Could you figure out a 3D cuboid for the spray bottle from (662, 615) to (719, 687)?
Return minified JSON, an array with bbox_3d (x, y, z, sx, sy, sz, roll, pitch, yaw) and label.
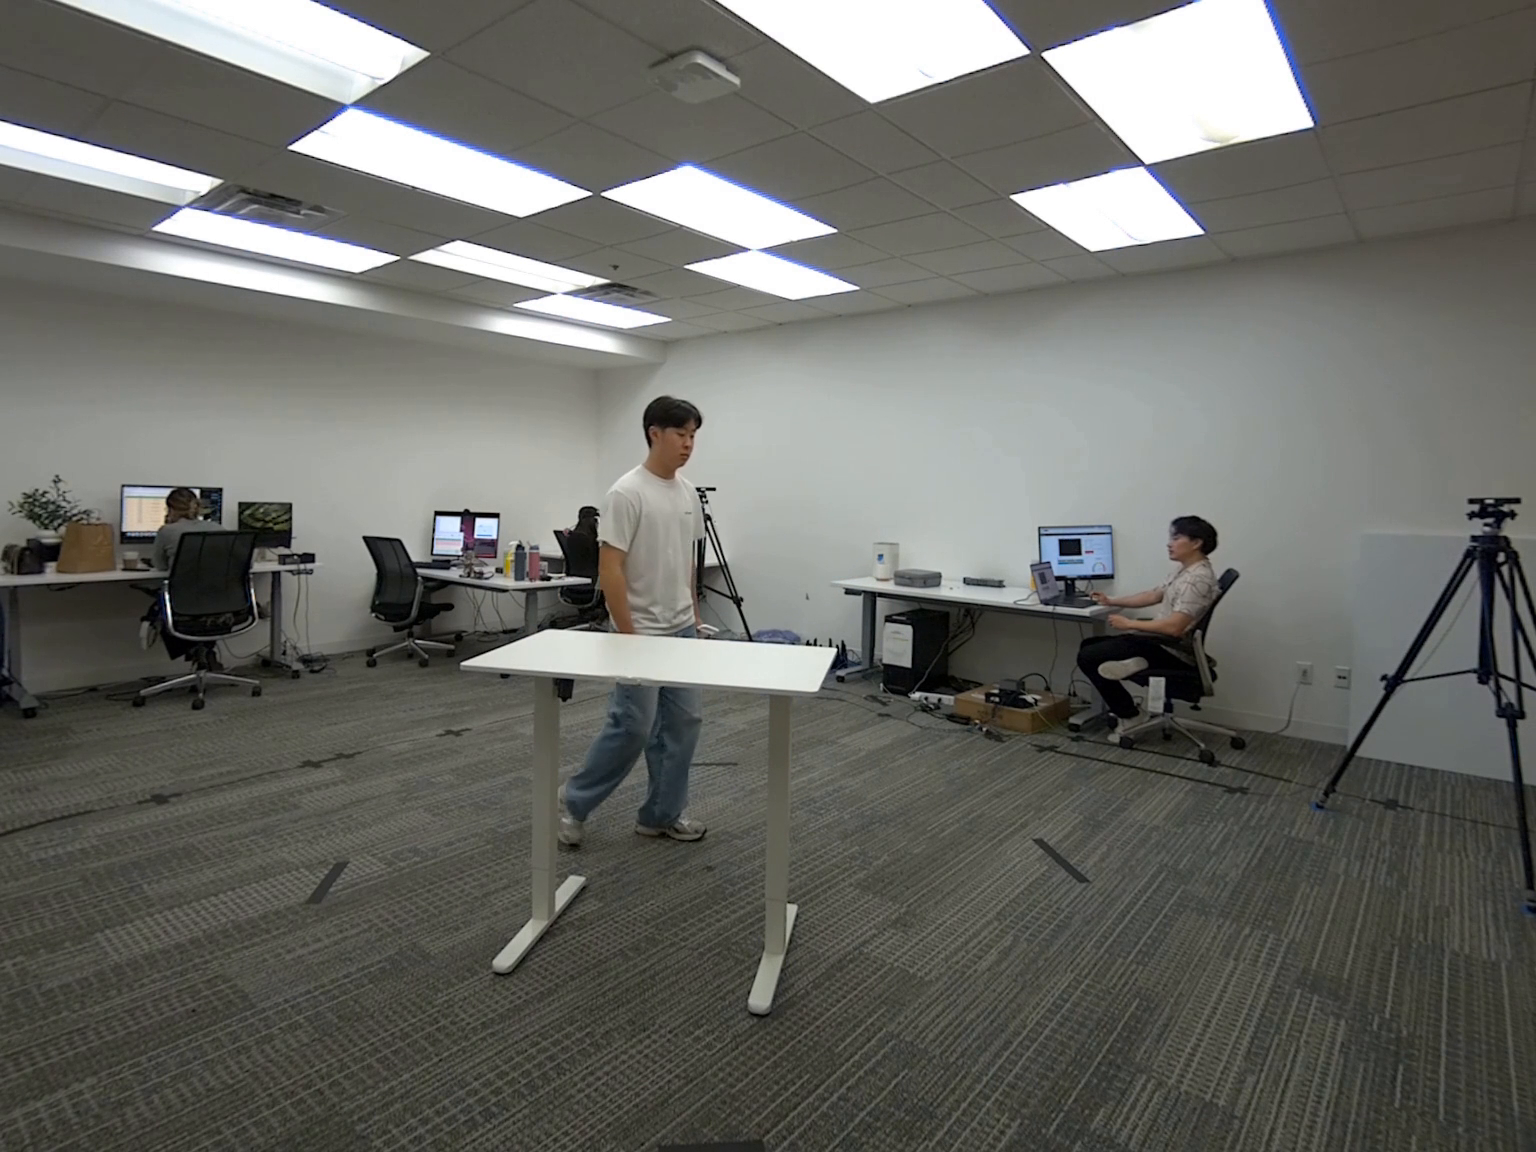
[{"bbox_3d":[-0.332,0.317,3.577,0.090,0.296,0.088,33,21,-3],"label":"spray bottle"}]
